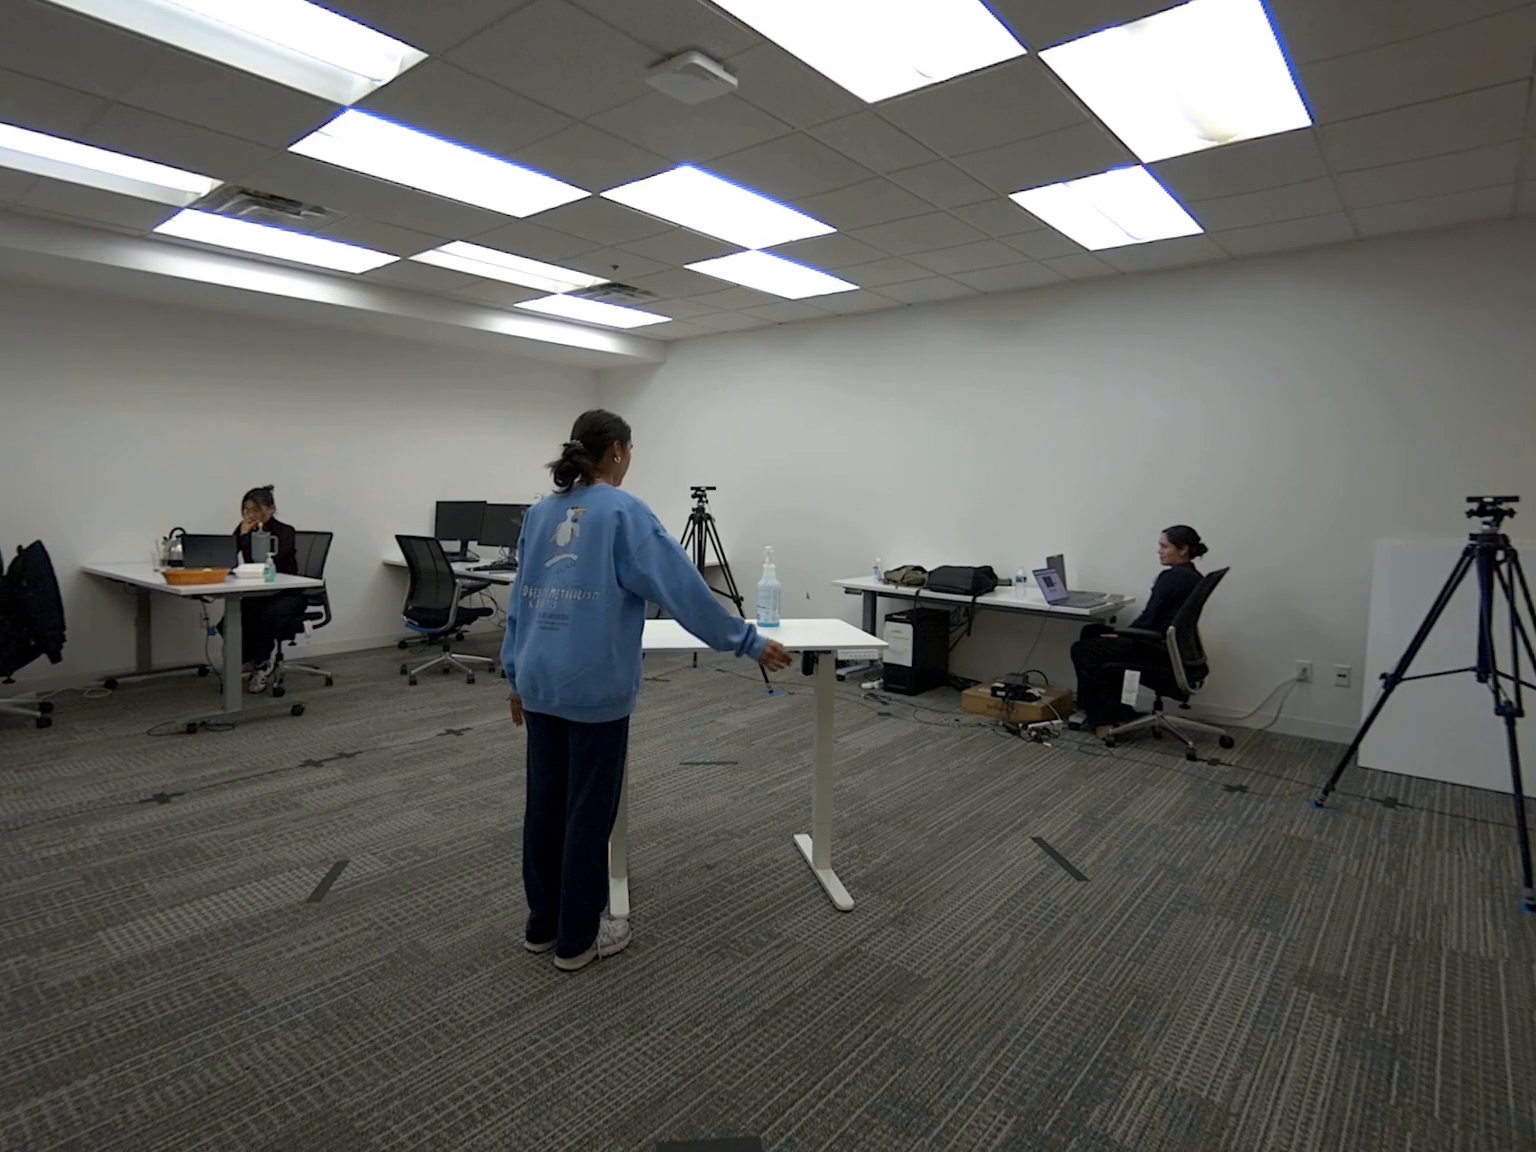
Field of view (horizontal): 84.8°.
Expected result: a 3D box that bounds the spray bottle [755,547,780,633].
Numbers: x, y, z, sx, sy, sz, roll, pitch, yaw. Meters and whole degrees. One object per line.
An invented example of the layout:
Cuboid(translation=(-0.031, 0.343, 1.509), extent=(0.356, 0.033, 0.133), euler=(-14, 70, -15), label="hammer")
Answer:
Cuboid(translation=(-0.004, 0.036, 3.165), extent=(0.090, 0.296, 0.087), euler=(4, 3, 37), label="spray bottle")
